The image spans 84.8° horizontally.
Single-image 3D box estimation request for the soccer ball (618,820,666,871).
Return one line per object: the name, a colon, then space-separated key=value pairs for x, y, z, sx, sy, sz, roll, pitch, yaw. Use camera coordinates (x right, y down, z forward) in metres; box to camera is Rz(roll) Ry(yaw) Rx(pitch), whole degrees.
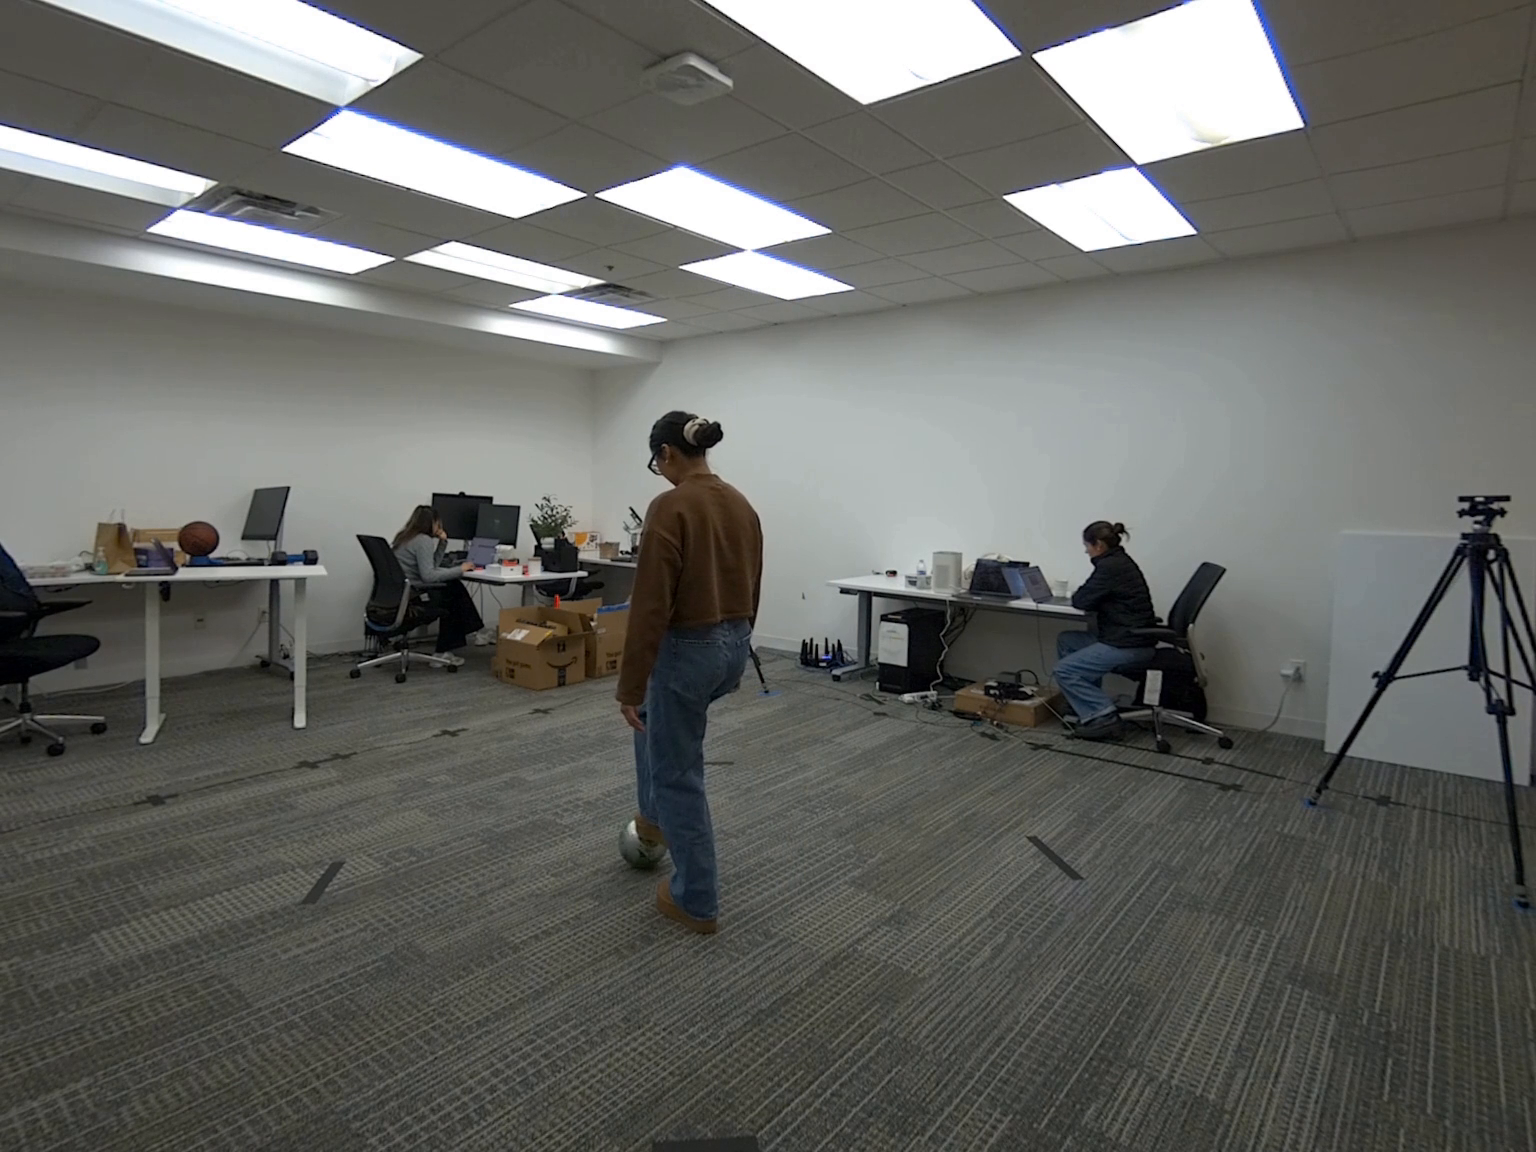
soccer ball: x=-0.467 y=0.965 z=3.122 sx=0.187 sy=0.187 sz=0.188 roll=1 pitch=4 yaw=-2
